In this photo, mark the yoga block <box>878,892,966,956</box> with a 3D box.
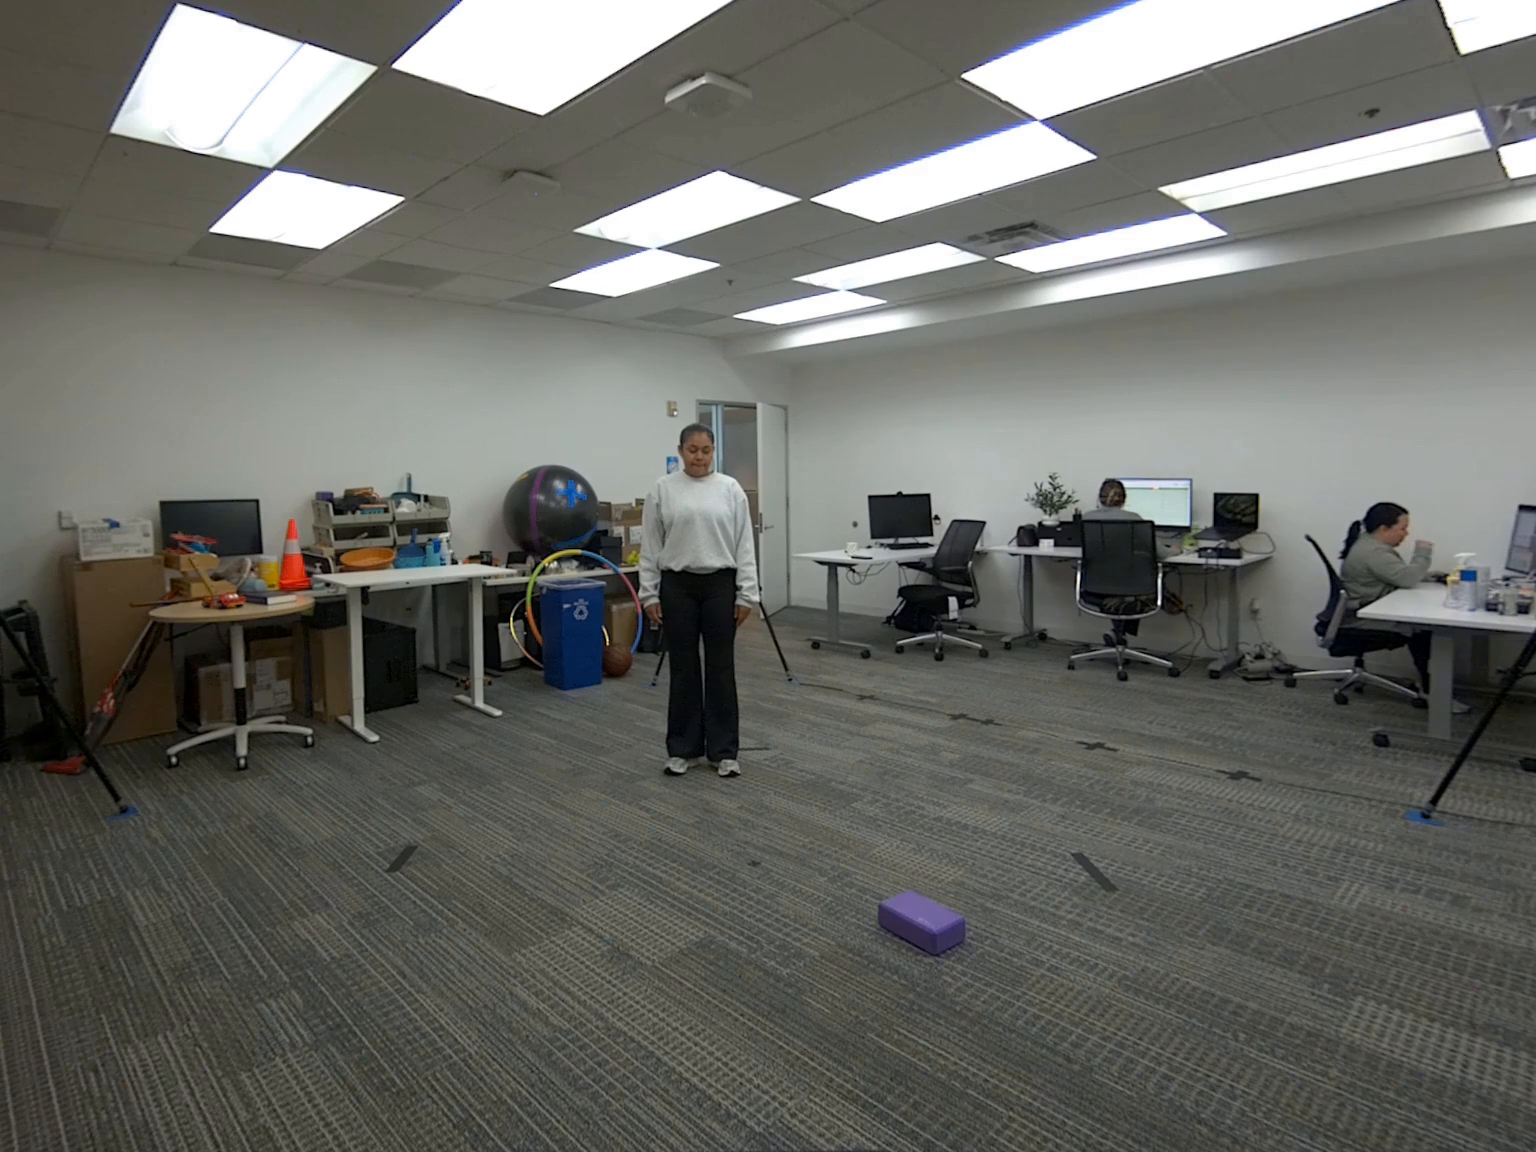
[{"bbox_3d":[0.474,1.056,2.606,0.145,0.076,0.236,-6,8,-37],"label":"yoga block"}]
